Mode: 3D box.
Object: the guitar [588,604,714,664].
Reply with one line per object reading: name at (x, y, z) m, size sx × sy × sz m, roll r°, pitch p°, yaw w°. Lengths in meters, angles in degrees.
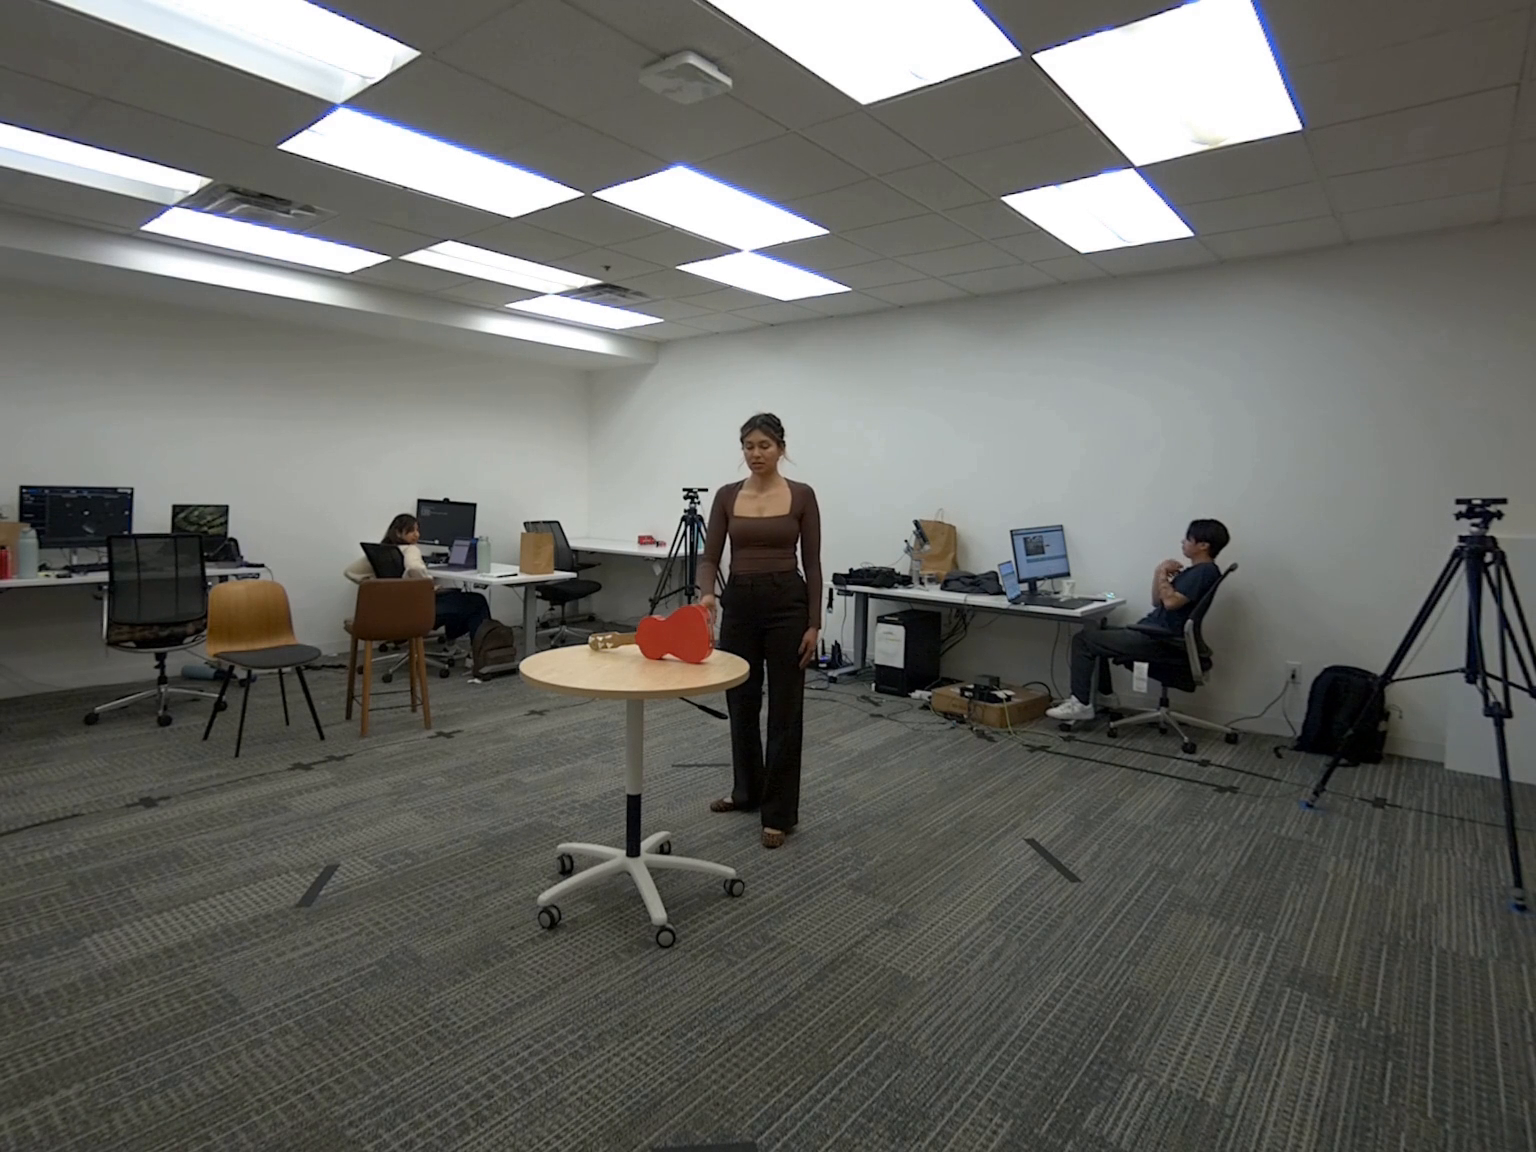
guitar at (-0.430, 0.241, 2.966) m, size 0.505 × 0.194 × 0.069 m, roll -17°, pitch -4°, yaw 22°
